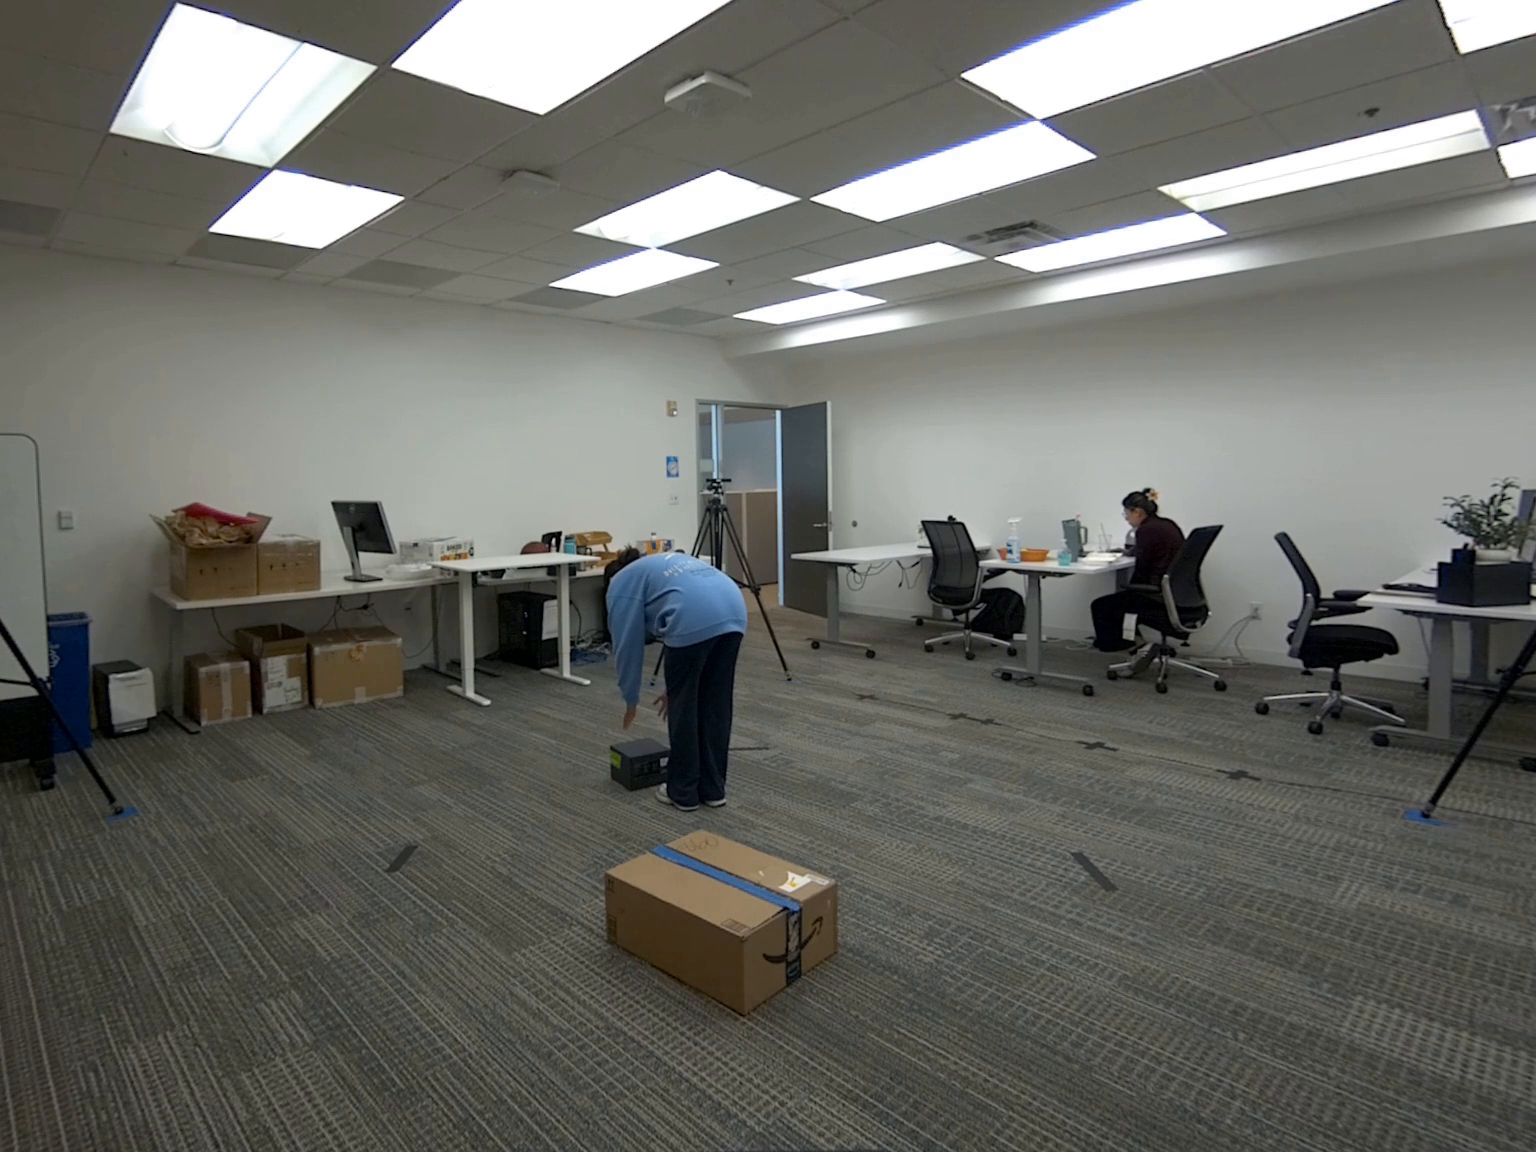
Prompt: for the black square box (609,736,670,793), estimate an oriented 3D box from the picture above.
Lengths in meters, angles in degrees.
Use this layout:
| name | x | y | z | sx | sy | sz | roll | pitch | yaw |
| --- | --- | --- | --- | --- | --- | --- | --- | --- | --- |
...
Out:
| name | x | y | z | sx | sy | sz | roll | pitch | yaw |
| --- | --- | --- | --- | --- | --- | --- | --- | --- | --- |
| black square box | -0.590 | 0.873 | 4.001 | 0.212 | 0.155 | 0.234 | -6 | 7 | -34 |
